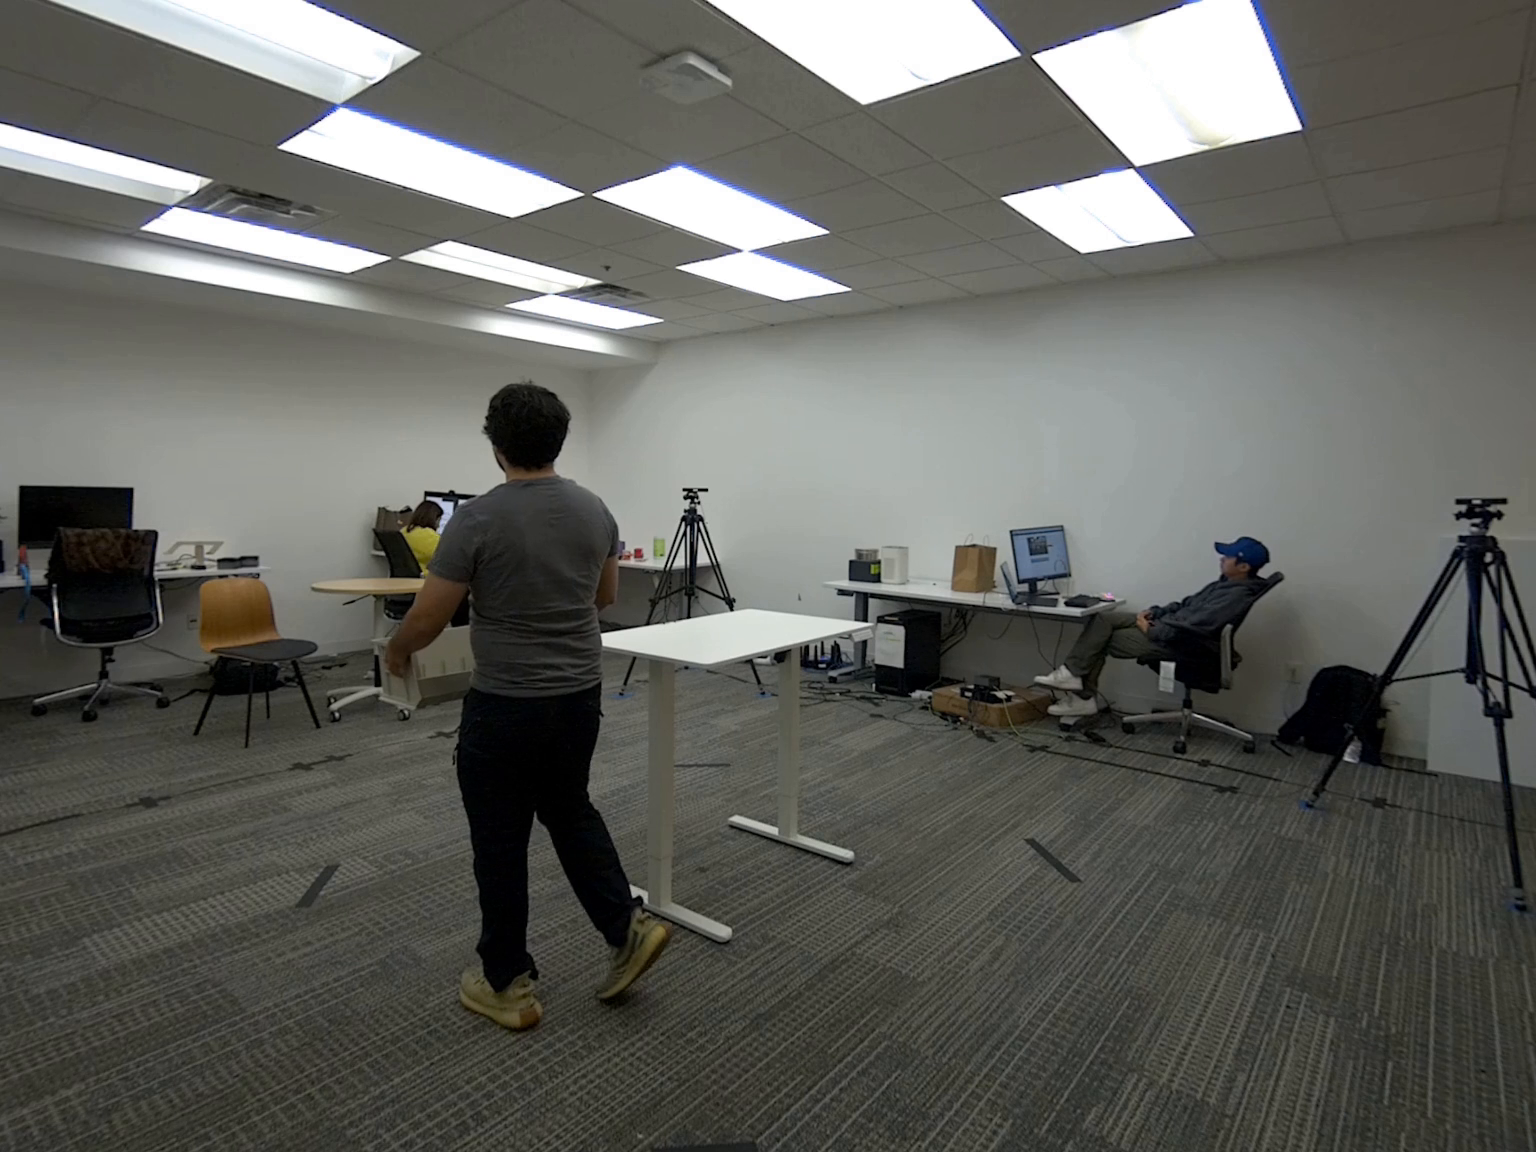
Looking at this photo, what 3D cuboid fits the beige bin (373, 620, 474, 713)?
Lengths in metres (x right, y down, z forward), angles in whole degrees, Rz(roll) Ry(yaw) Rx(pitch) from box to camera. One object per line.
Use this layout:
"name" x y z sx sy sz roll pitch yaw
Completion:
"beige bin" -0.904 0.248 2.533 0.411 0.188 0.389 -8 5 -41
